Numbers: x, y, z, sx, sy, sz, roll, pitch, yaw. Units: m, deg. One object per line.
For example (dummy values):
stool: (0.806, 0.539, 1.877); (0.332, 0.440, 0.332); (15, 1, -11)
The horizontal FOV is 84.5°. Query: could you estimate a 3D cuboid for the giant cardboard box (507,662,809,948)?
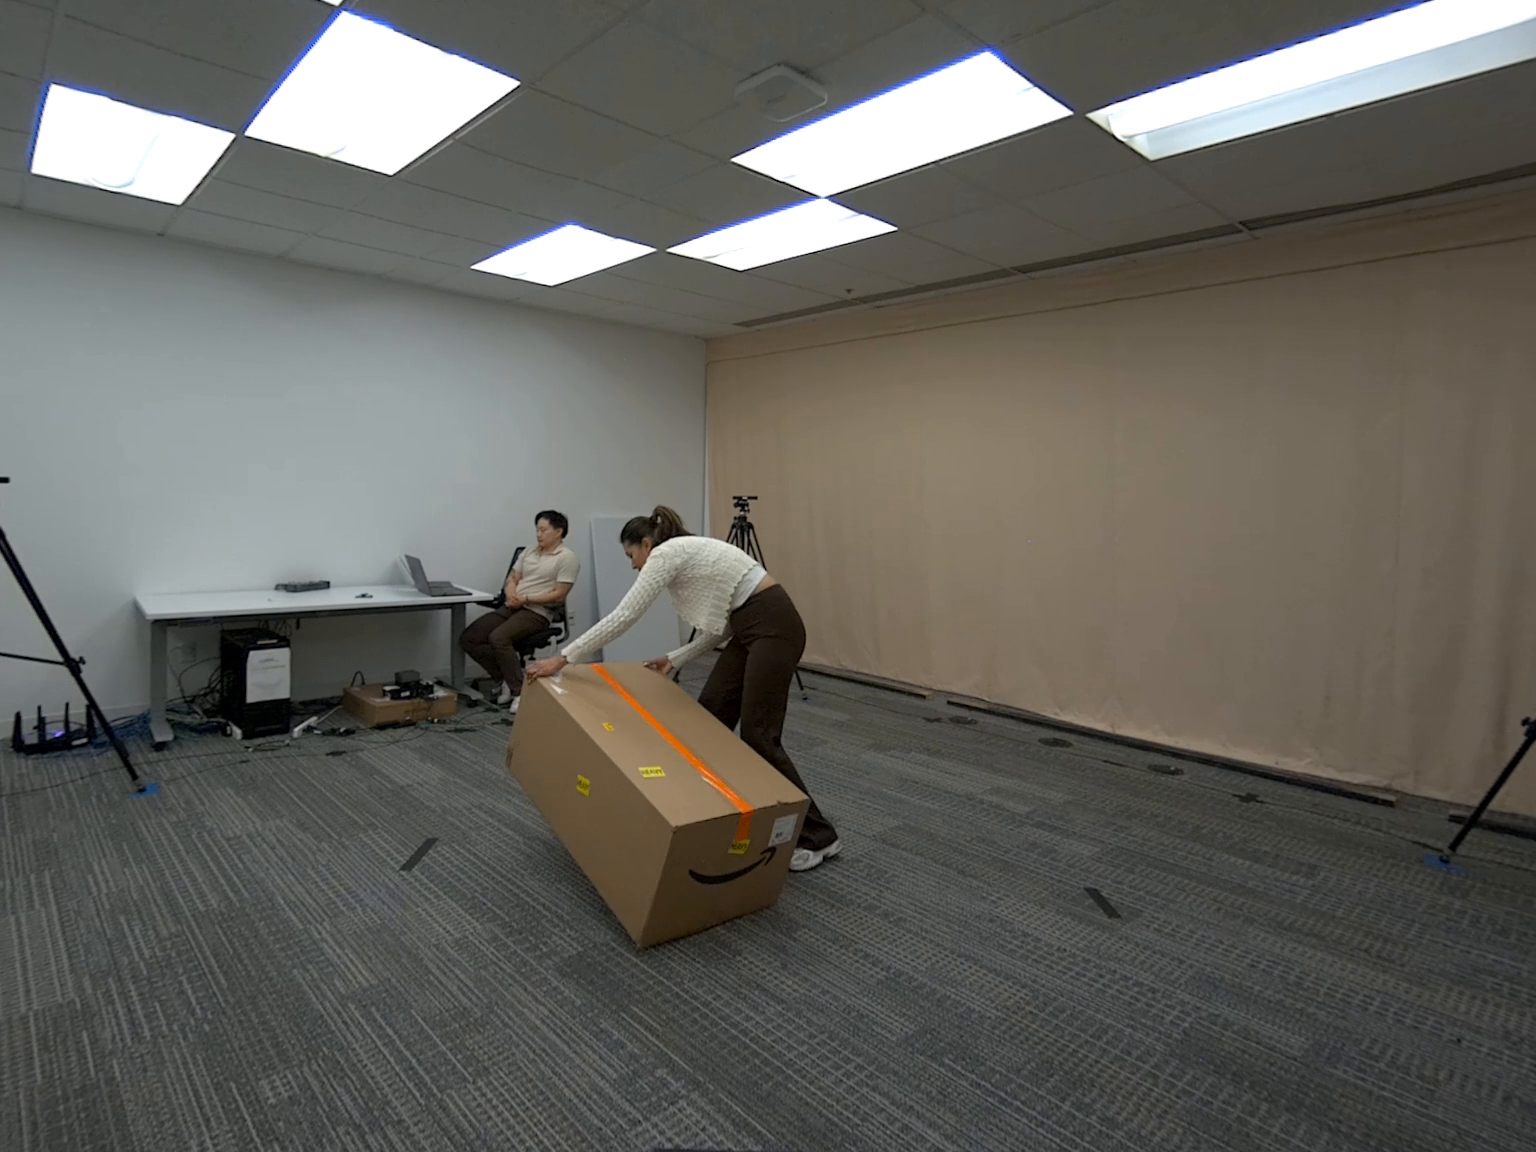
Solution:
giant cardboard box: (-0.442, 0.741, 3.017); (0.563, 0.423, 1.059); (3, 19, -42)
